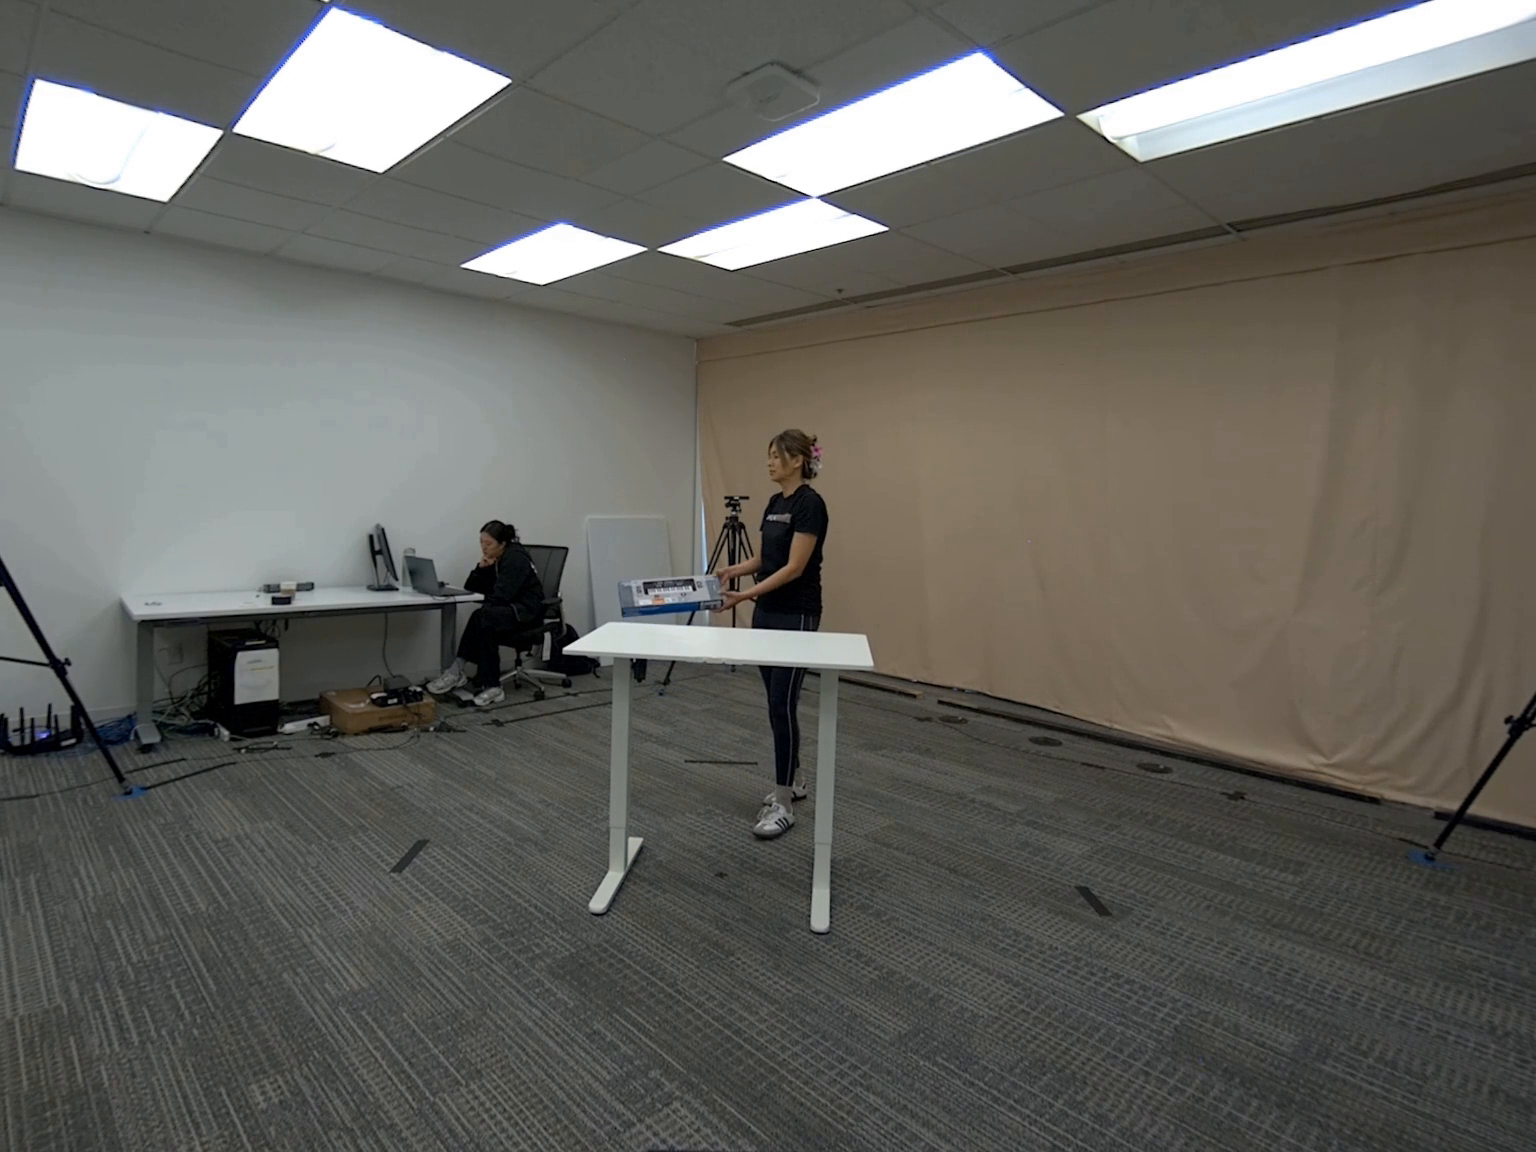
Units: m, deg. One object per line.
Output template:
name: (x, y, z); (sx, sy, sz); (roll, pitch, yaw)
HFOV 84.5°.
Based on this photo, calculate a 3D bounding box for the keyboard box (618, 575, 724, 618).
keyboard box: (-0.434, 0.087, 3.648); (0.433, 0.058, 0.181); (-5, 39, -12)
